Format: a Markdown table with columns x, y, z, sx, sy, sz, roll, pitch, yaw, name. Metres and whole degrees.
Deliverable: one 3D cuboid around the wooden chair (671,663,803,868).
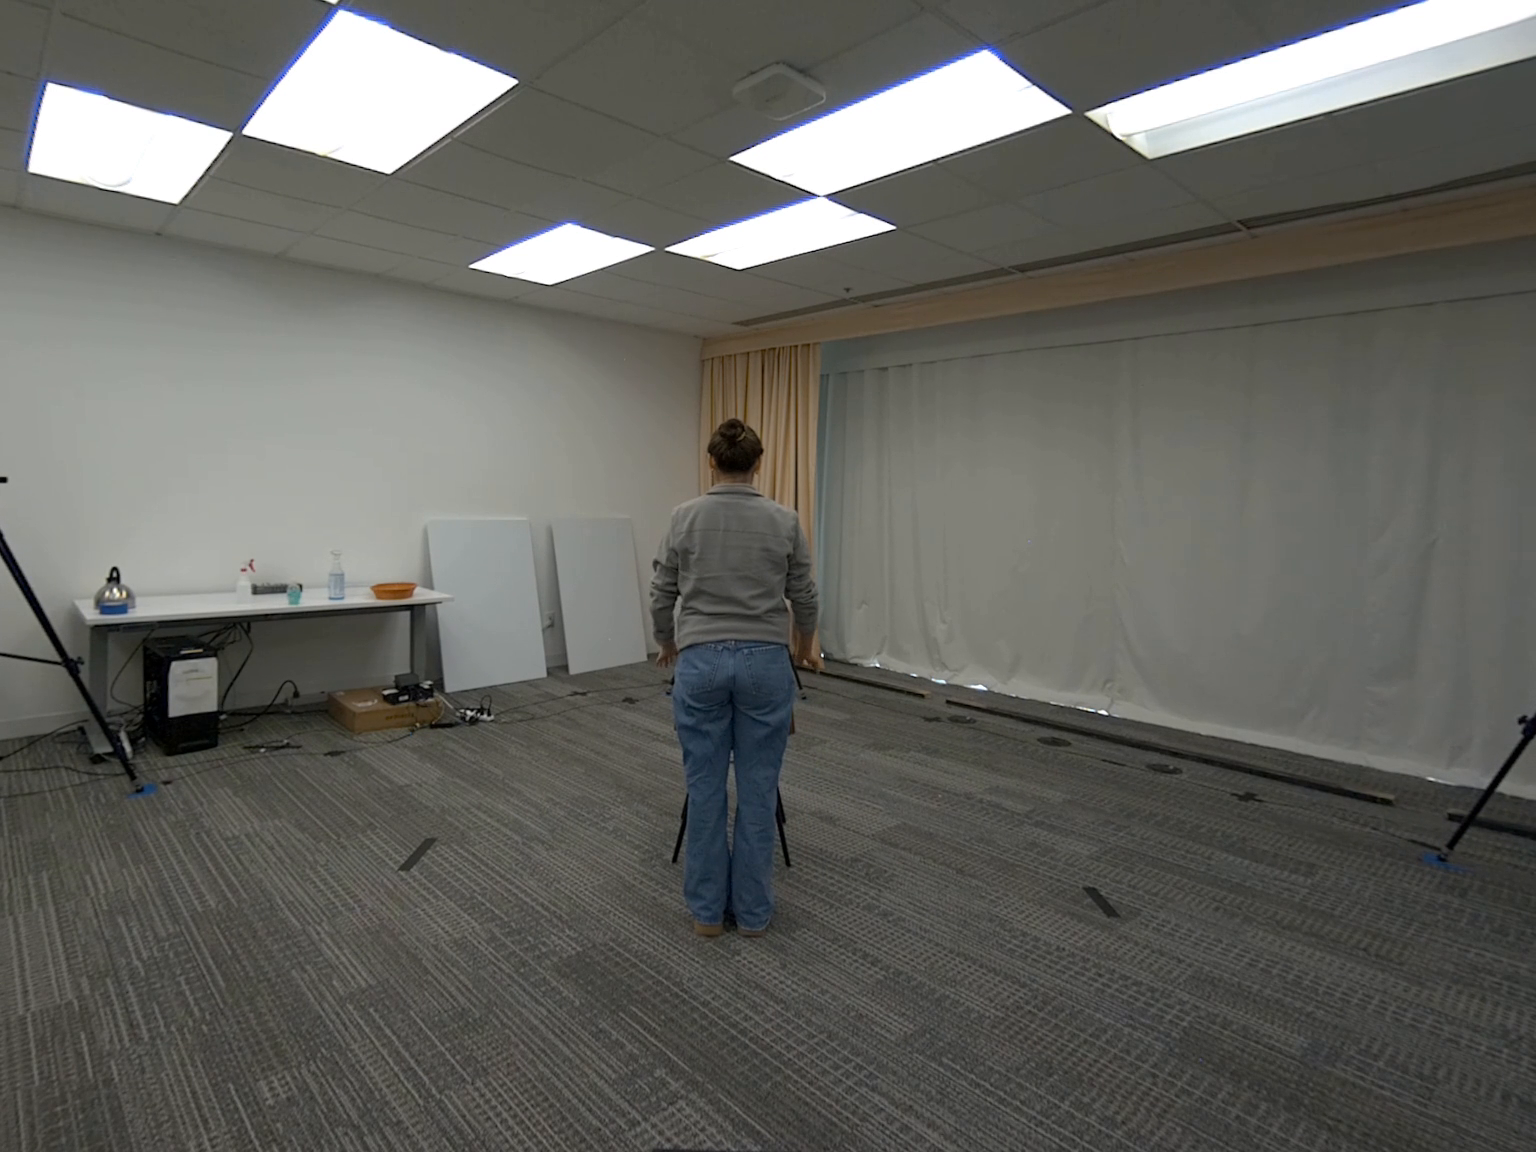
| x | y | z | sx | sy | sz | roll | pitch | yaw | name |
| --- | --- | --- | --- | --- | --- | --- | --- | --- | --- |
| -0.137 | 0.654 | 3.386 | 0.478 | 0.872 | 0.526 | 1 | 8 | 0 | wooden chair |
